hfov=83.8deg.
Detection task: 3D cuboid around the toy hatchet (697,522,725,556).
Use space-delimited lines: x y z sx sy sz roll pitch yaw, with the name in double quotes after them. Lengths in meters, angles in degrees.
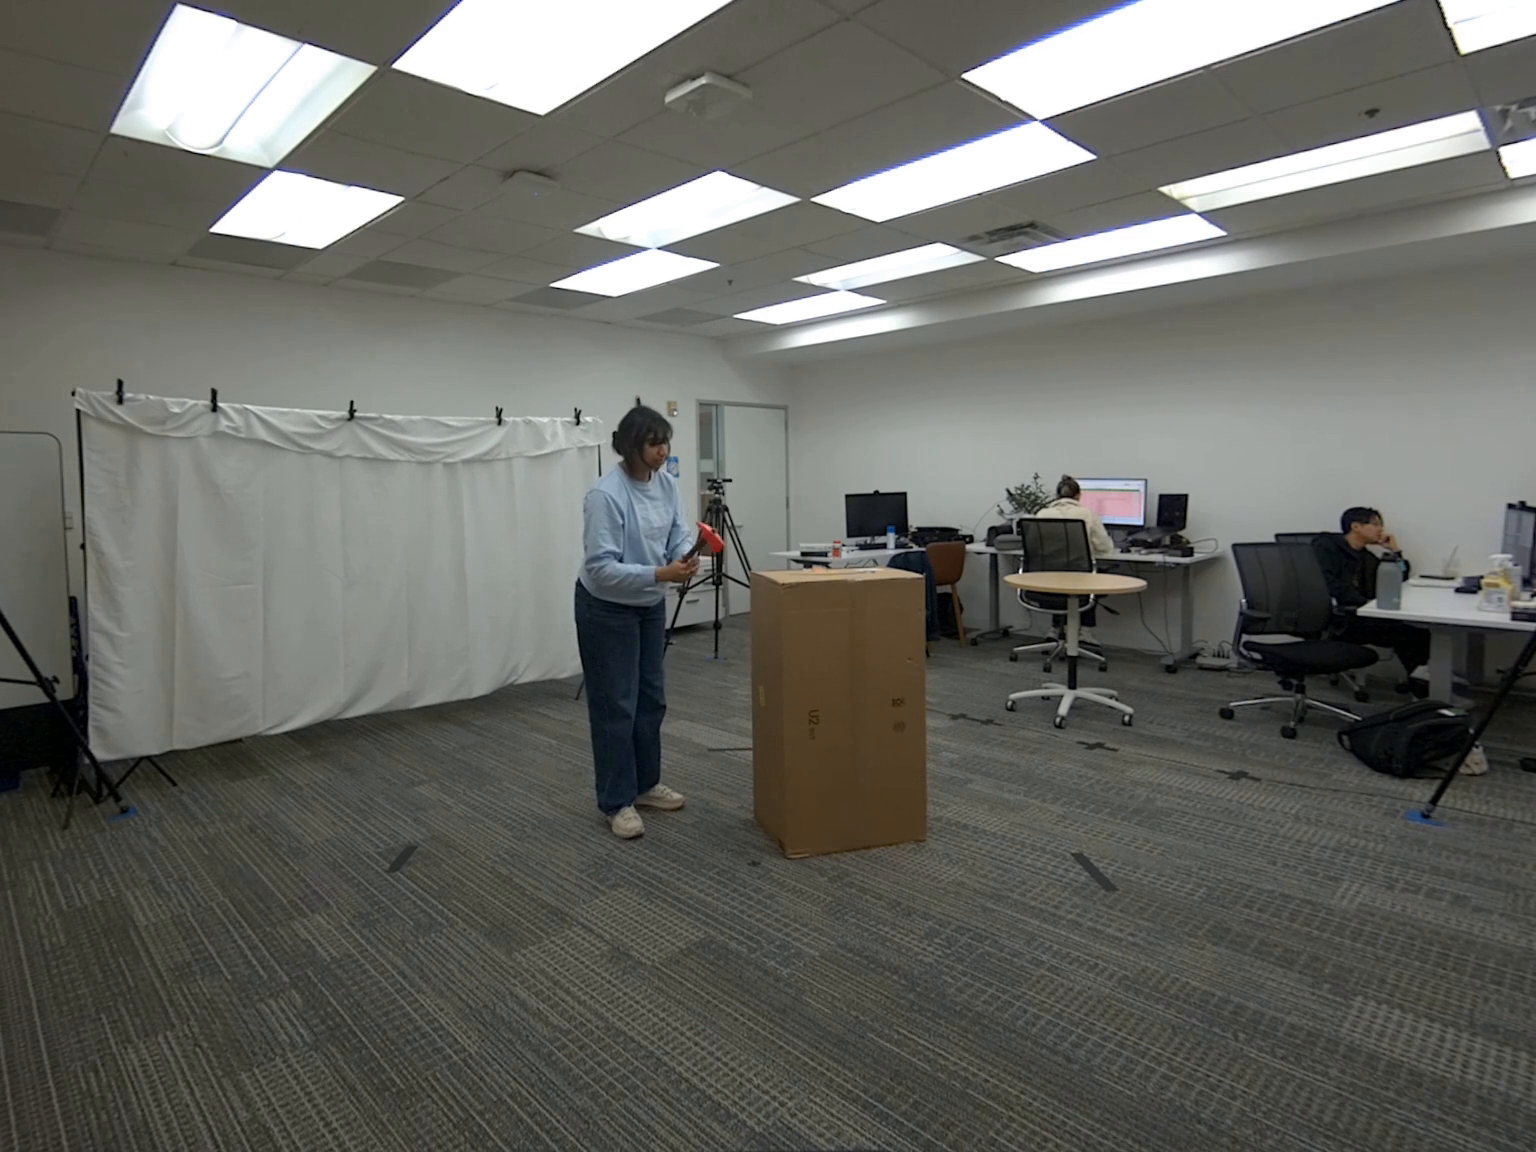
-0.254 -0.070 3.148 0.132 0.267 0.030 29 31 5 "toy hatchet"
